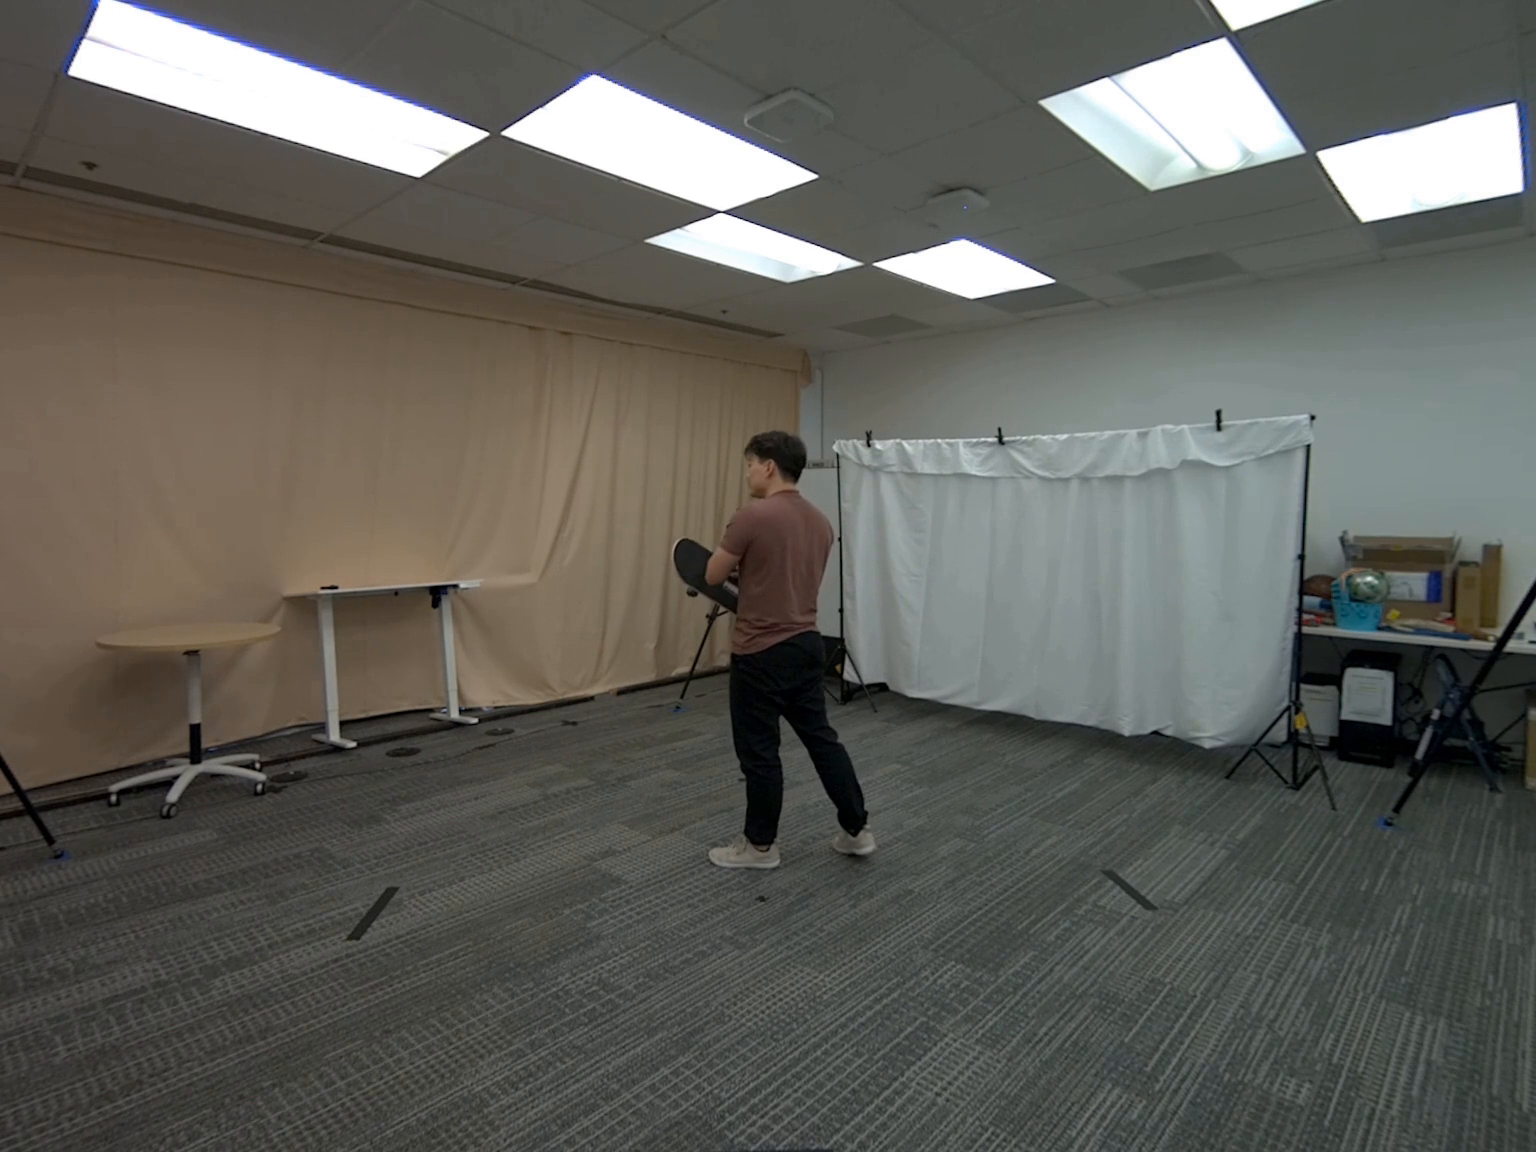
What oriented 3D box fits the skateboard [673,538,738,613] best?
[{"bbox_3d":[-0.131,0.088,3.541,0.760,0.195,0.113,34,-35,-31],"label":"skateboard"}]
